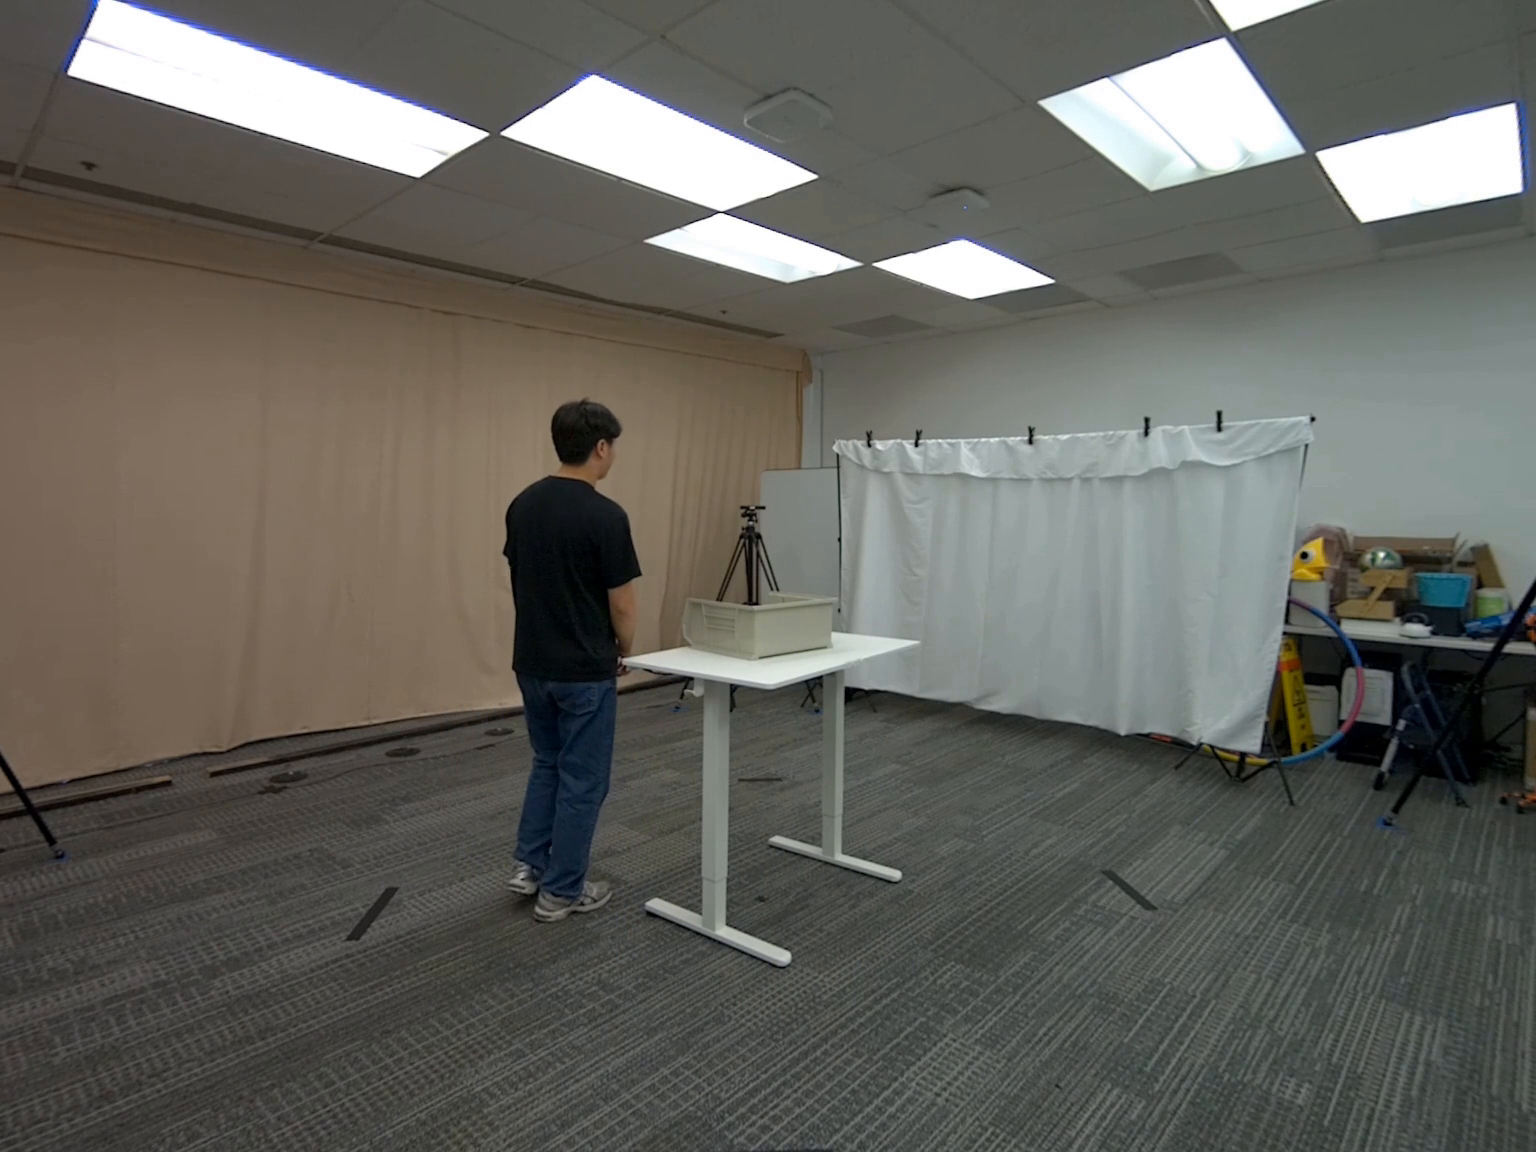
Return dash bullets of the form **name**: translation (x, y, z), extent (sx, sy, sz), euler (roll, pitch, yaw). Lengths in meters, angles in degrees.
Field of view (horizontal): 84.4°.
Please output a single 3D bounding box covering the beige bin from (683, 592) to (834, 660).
- **beige bin**: translation (-0.029, 0.168, 3.014), extent (0.409, 0.188, 0.390), euler (-3, 6, -44)
